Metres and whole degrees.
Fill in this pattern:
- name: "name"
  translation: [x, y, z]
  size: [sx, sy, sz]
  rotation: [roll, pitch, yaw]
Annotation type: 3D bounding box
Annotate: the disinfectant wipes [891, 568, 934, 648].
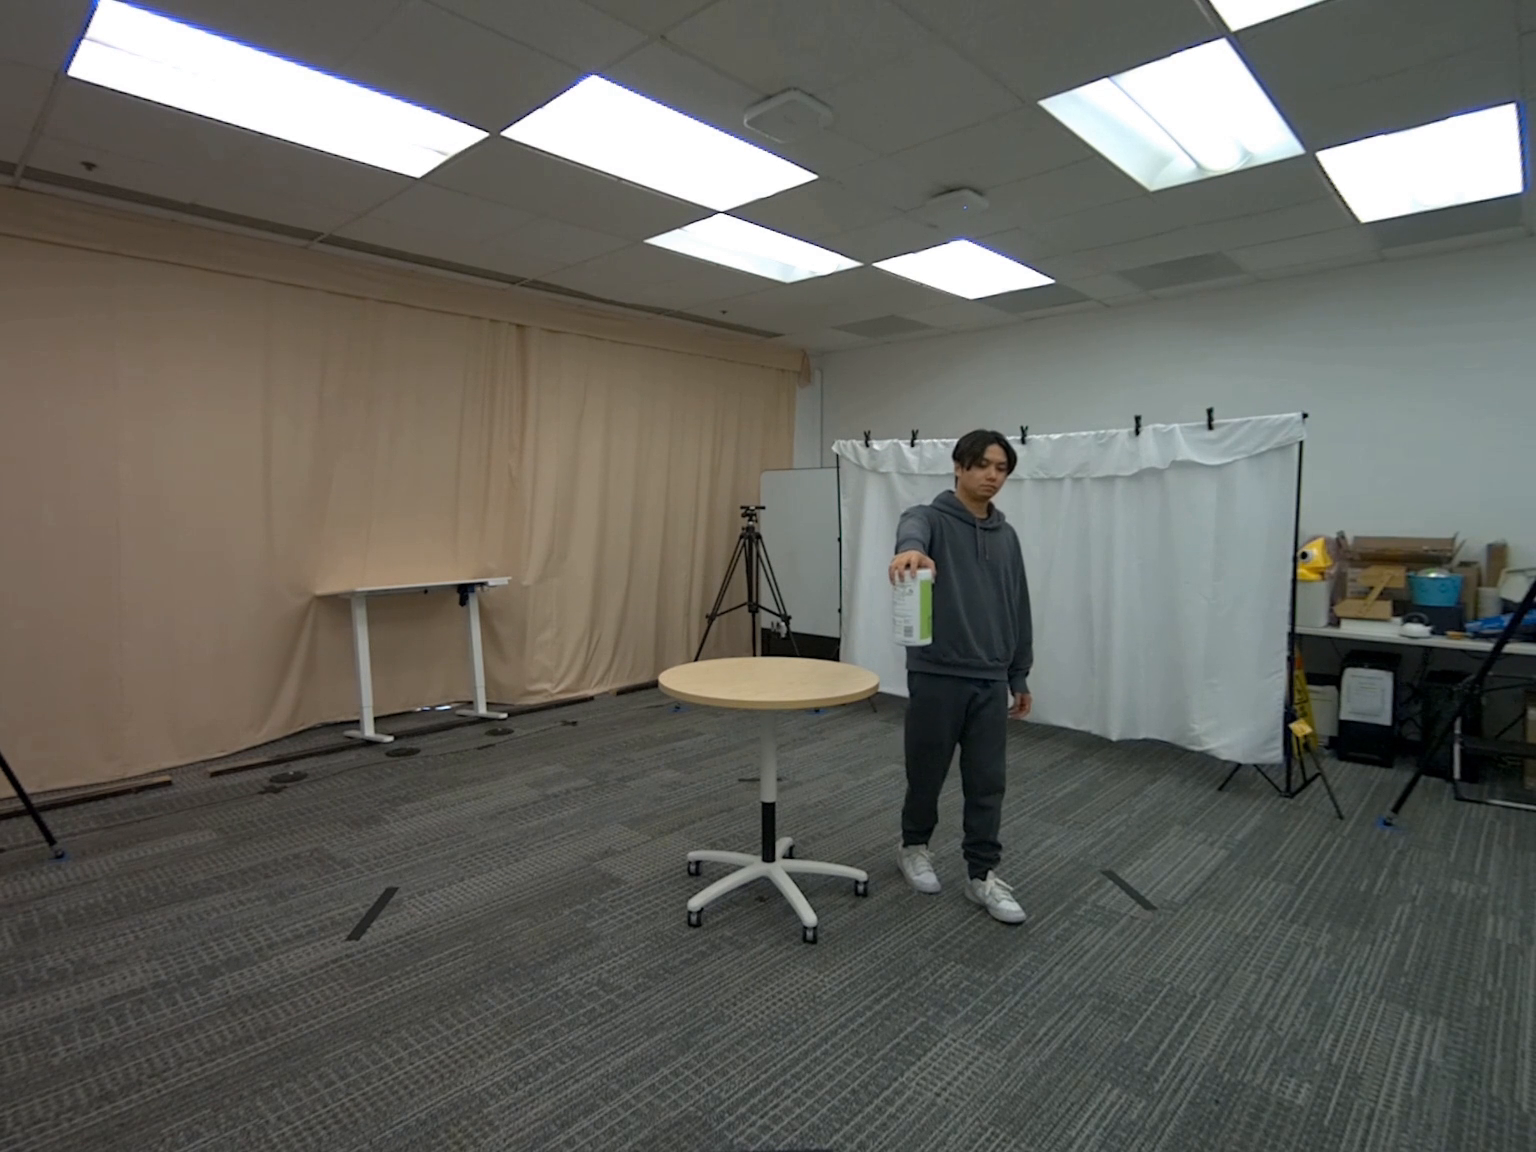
- name: "disinfectant wipes"
  translation: [0.413, 0.089, 2.397]
  size: [0.118, 0.217, 0.118]
  rotation: [0, 5, -2]
